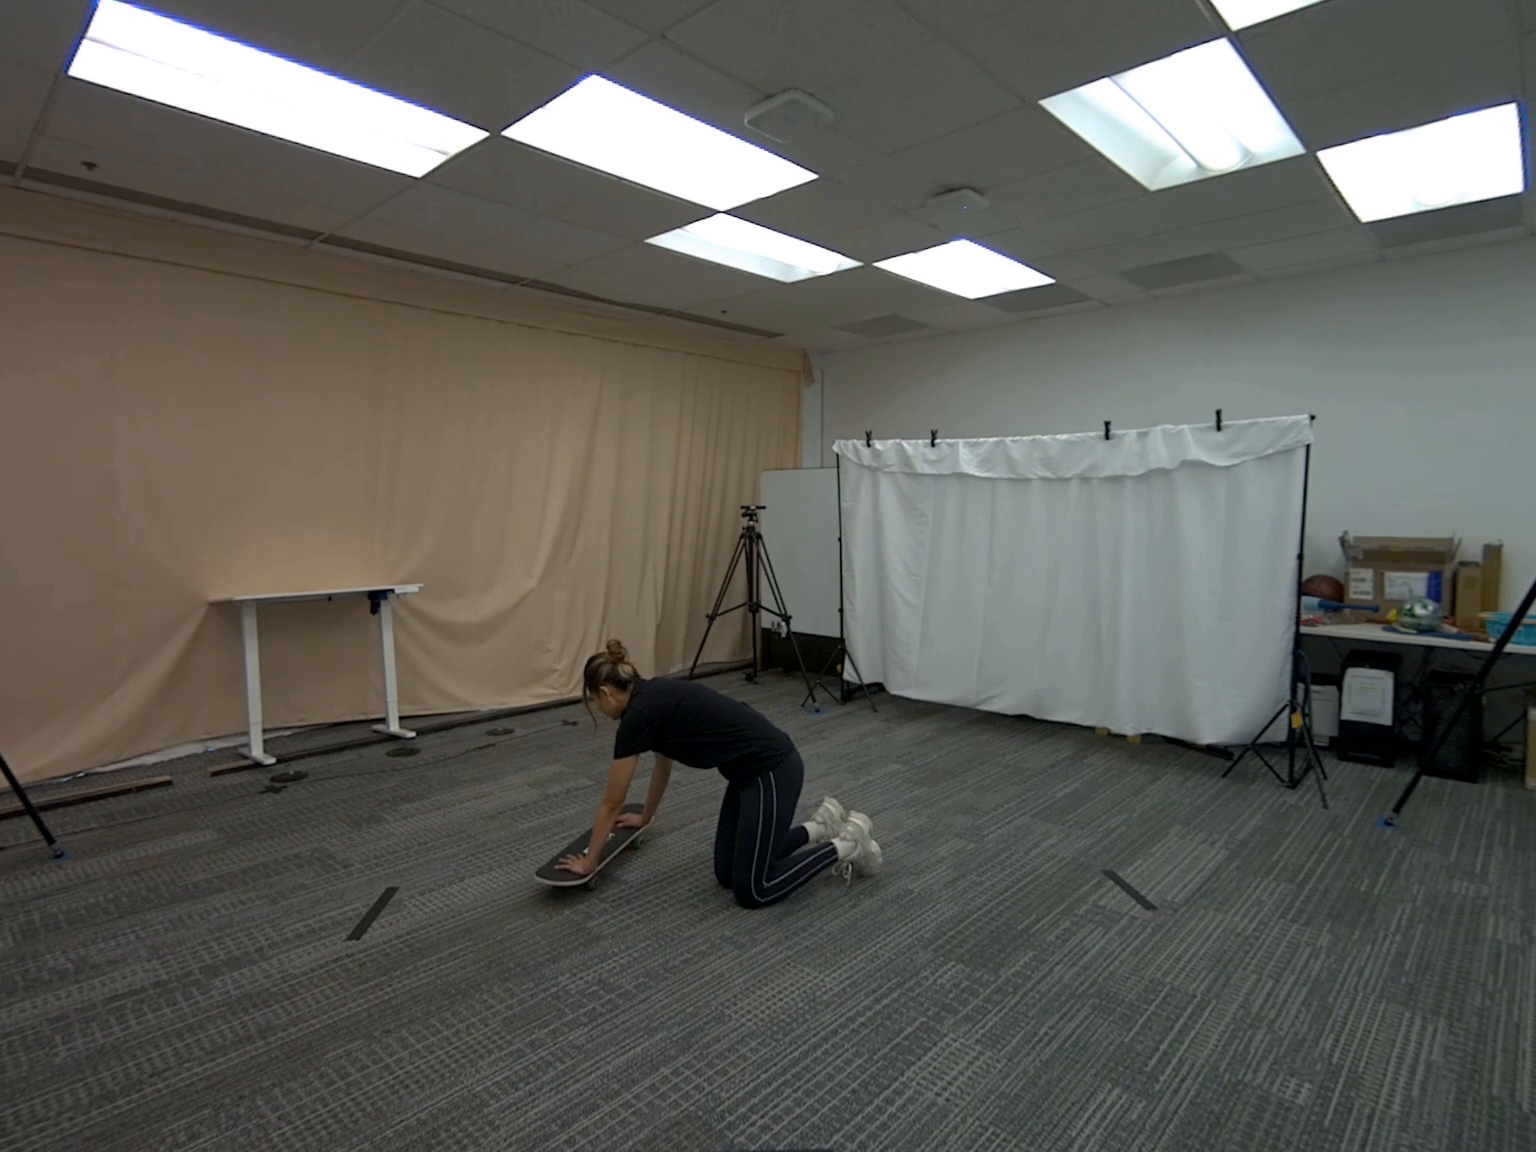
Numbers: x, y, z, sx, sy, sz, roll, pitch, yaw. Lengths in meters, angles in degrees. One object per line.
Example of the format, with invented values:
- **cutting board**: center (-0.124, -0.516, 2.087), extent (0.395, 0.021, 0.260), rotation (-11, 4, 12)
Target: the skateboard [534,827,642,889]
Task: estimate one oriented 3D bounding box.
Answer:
- **skateboard**: center (-0.652, 1.067, 3.275), extent (0.197, 0.110, 0.772), rotation (2, 5, 16)
